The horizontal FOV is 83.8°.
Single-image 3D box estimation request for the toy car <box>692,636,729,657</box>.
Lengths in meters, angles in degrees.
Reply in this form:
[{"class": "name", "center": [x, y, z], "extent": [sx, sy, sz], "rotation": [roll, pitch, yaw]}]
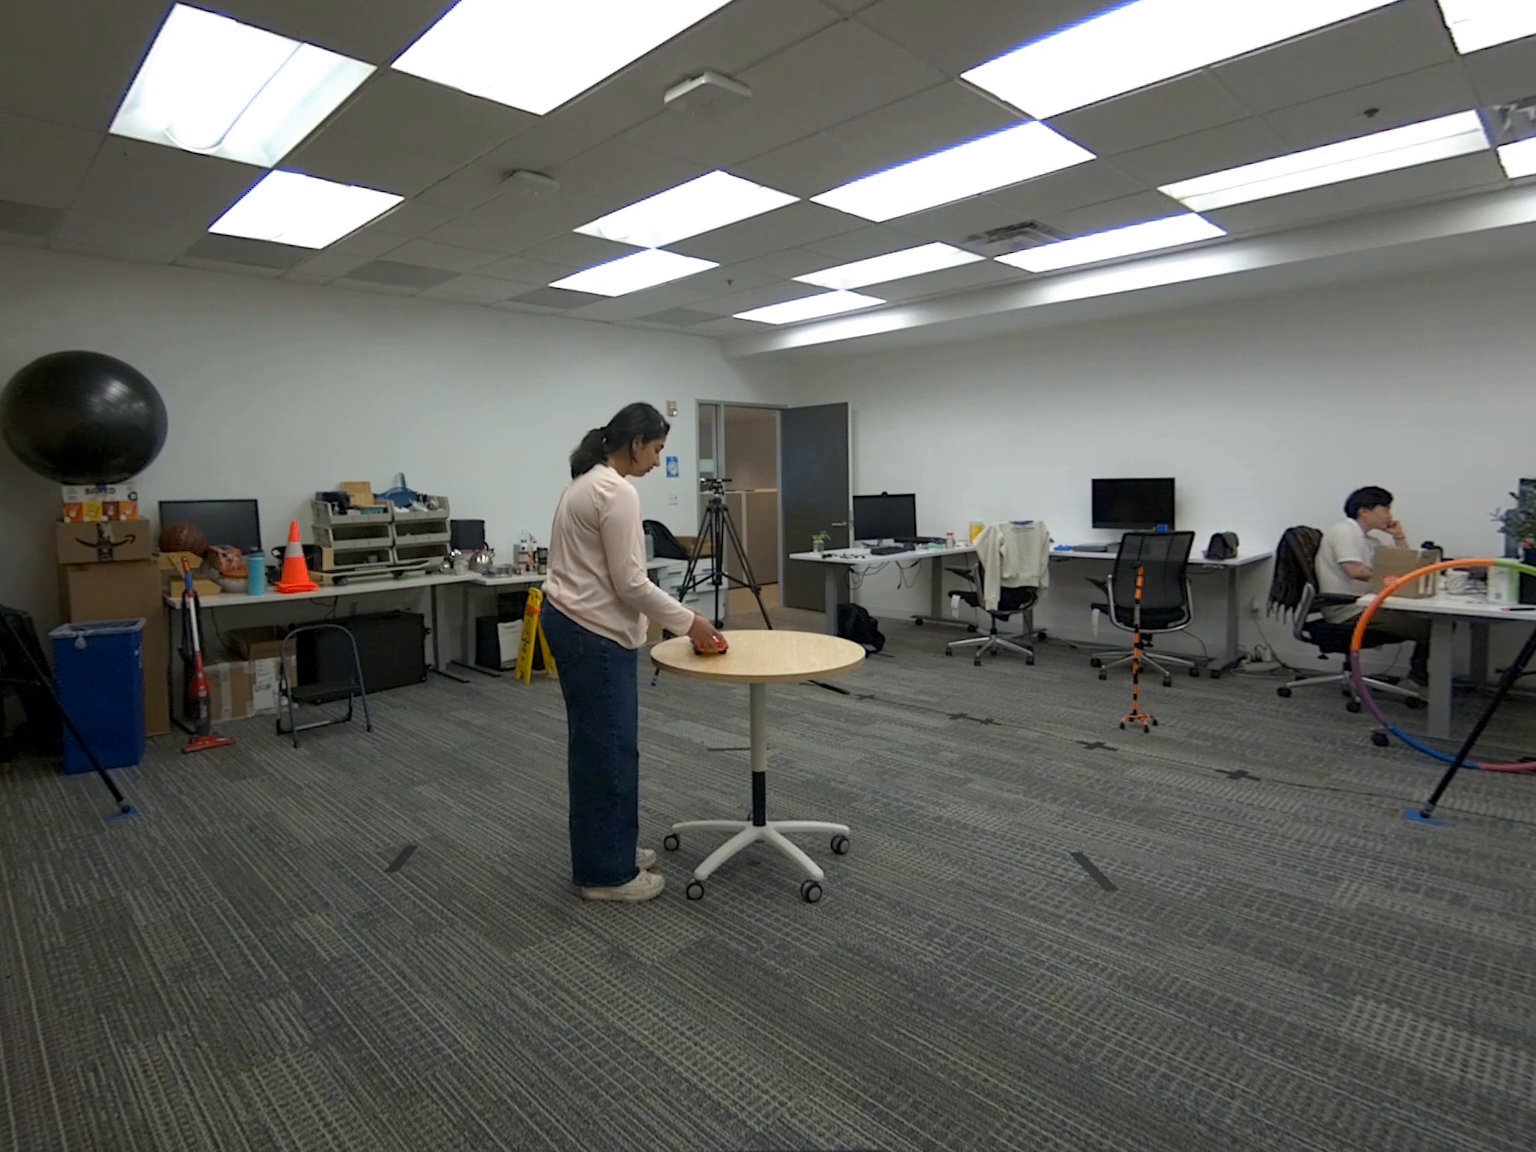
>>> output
[{"class": "toy car", "center": [-0.209, 0.235, 3.052], "extent": [0.129, 0.083, 0.255], "rotation": [-2, -3, -9]}]
